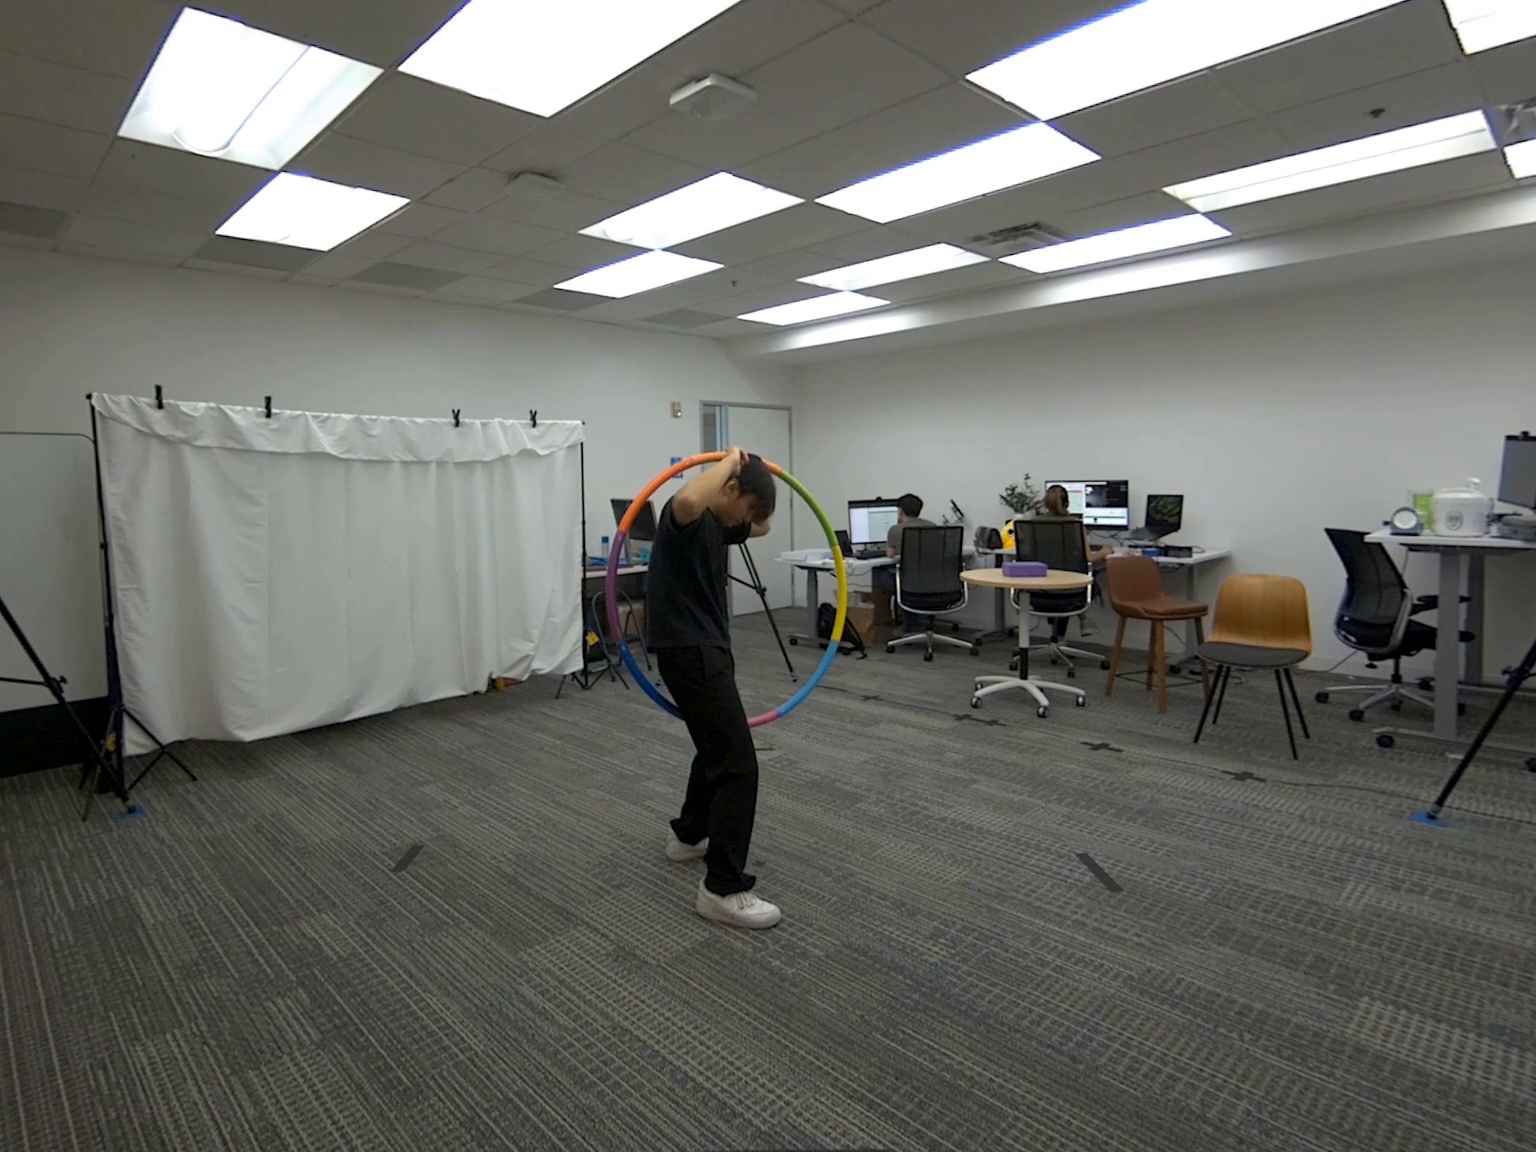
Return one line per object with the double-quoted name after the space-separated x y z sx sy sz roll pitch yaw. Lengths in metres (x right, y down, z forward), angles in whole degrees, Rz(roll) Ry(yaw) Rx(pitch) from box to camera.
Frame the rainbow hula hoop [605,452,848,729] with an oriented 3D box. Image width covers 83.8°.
-0.121 0.040 3.066 0.956 0.980 0.036 -4 -2 -29 "rainbow hula hoop"
